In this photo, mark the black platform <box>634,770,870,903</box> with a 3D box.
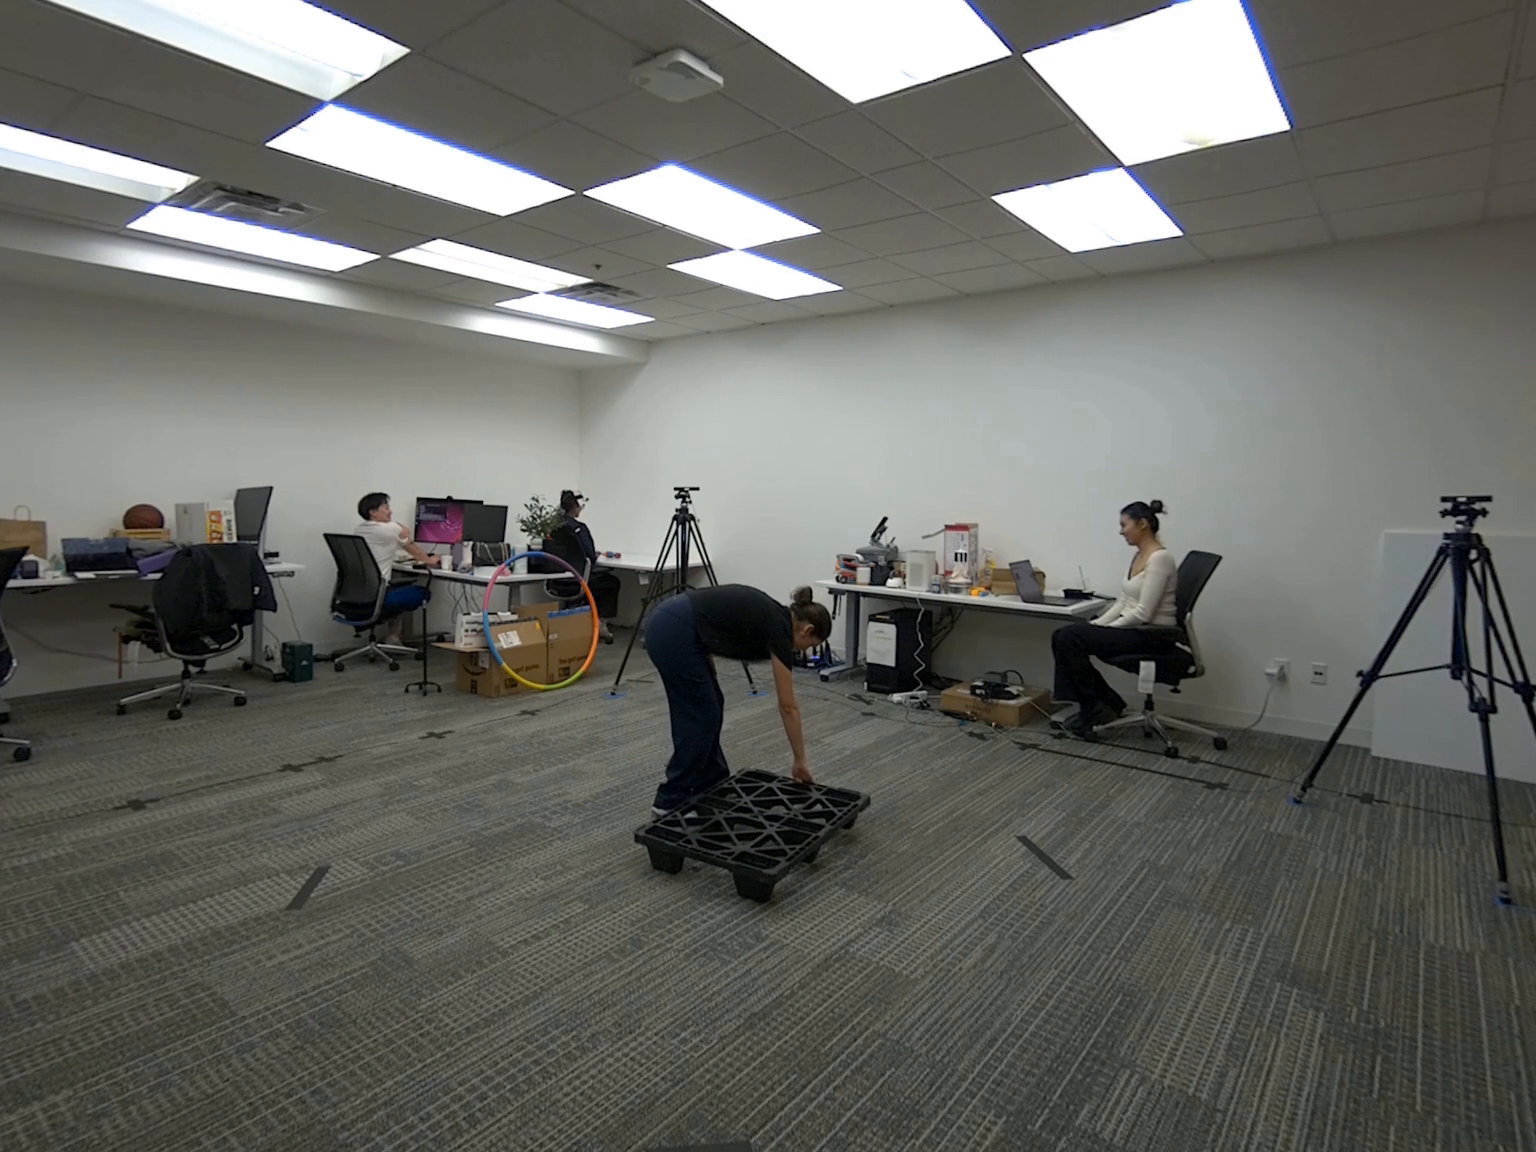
[{"bbox_3d":[-0.023,0.972,3.281,0.624,0.142,0.785,4,8,32],"label":"black platform"}]
